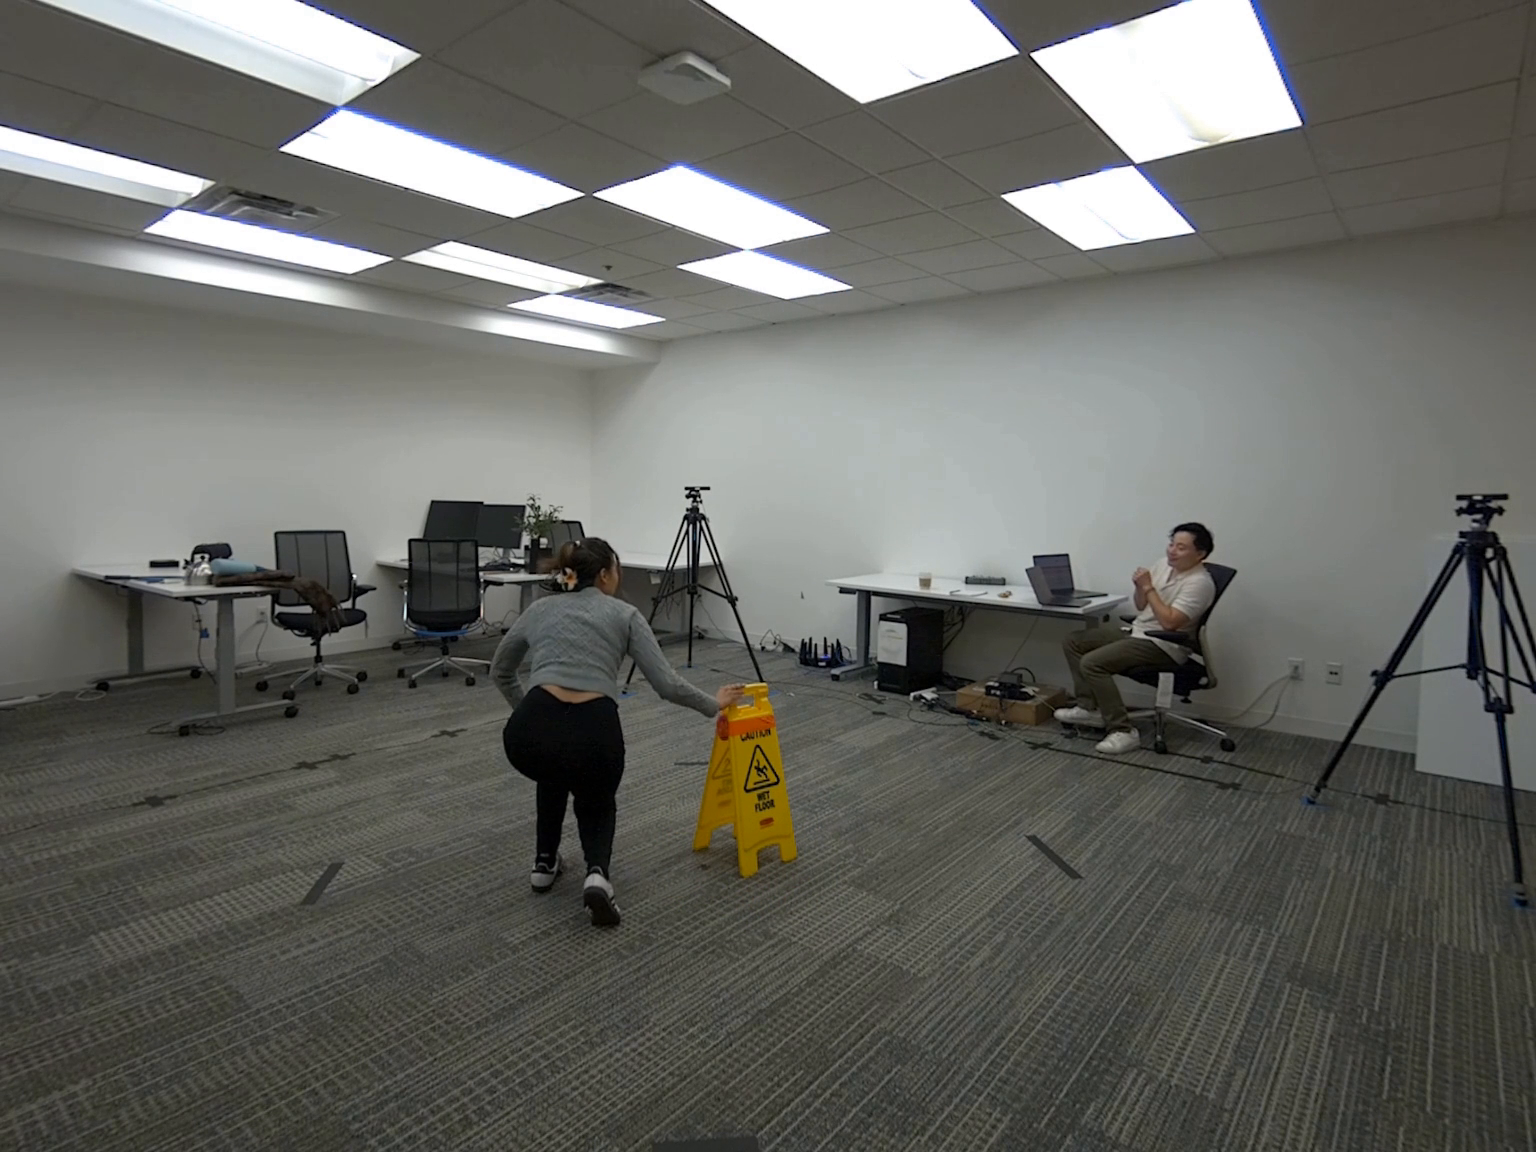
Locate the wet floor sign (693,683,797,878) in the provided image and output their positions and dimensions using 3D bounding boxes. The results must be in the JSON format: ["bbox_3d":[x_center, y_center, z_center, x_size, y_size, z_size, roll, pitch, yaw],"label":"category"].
[{"bbox_3d":[-0.092,0.738,3.216,0.274,0.643,0.300,-3,6,-41],"label":"wet floor sign"}]
